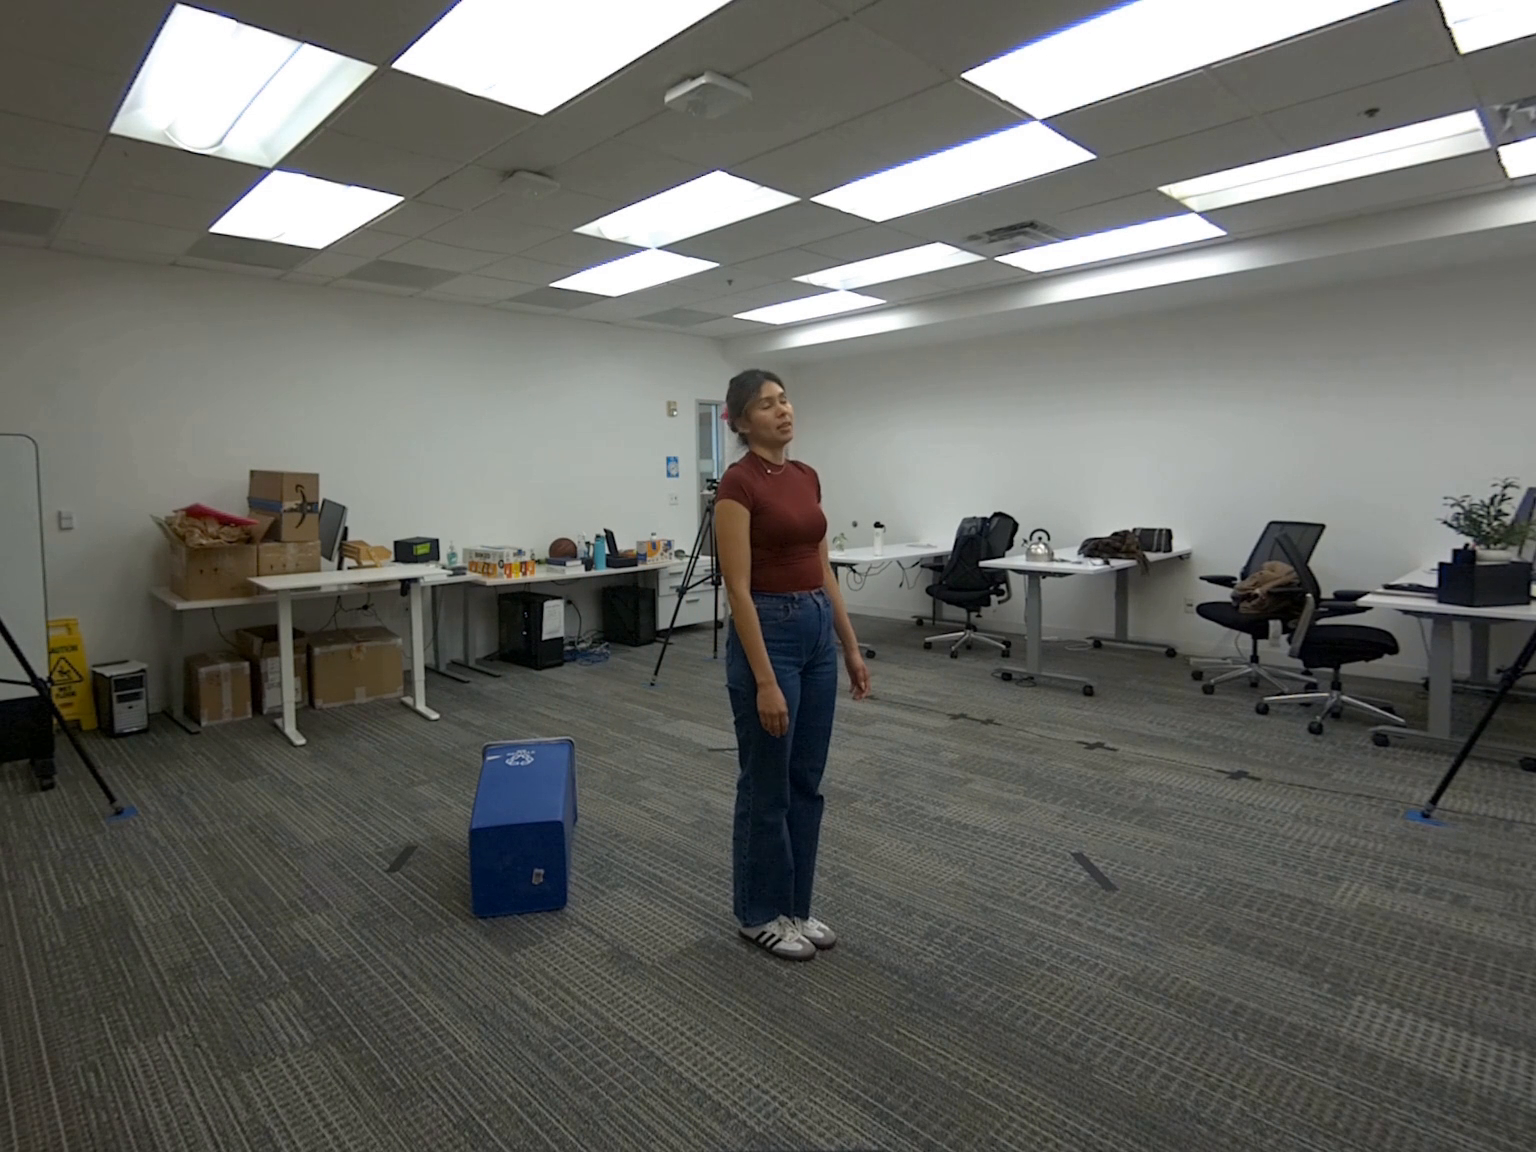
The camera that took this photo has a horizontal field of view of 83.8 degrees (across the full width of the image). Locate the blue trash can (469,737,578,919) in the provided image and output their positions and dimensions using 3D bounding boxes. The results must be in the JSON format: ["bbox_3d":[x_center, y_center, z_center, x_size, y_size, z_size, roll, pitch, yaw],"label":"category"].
[{"bbox_3d":[-0.877,0.893,3.106,0.370,0.375,0.726,-2,8,-12],"label":"blue trash can"}]
